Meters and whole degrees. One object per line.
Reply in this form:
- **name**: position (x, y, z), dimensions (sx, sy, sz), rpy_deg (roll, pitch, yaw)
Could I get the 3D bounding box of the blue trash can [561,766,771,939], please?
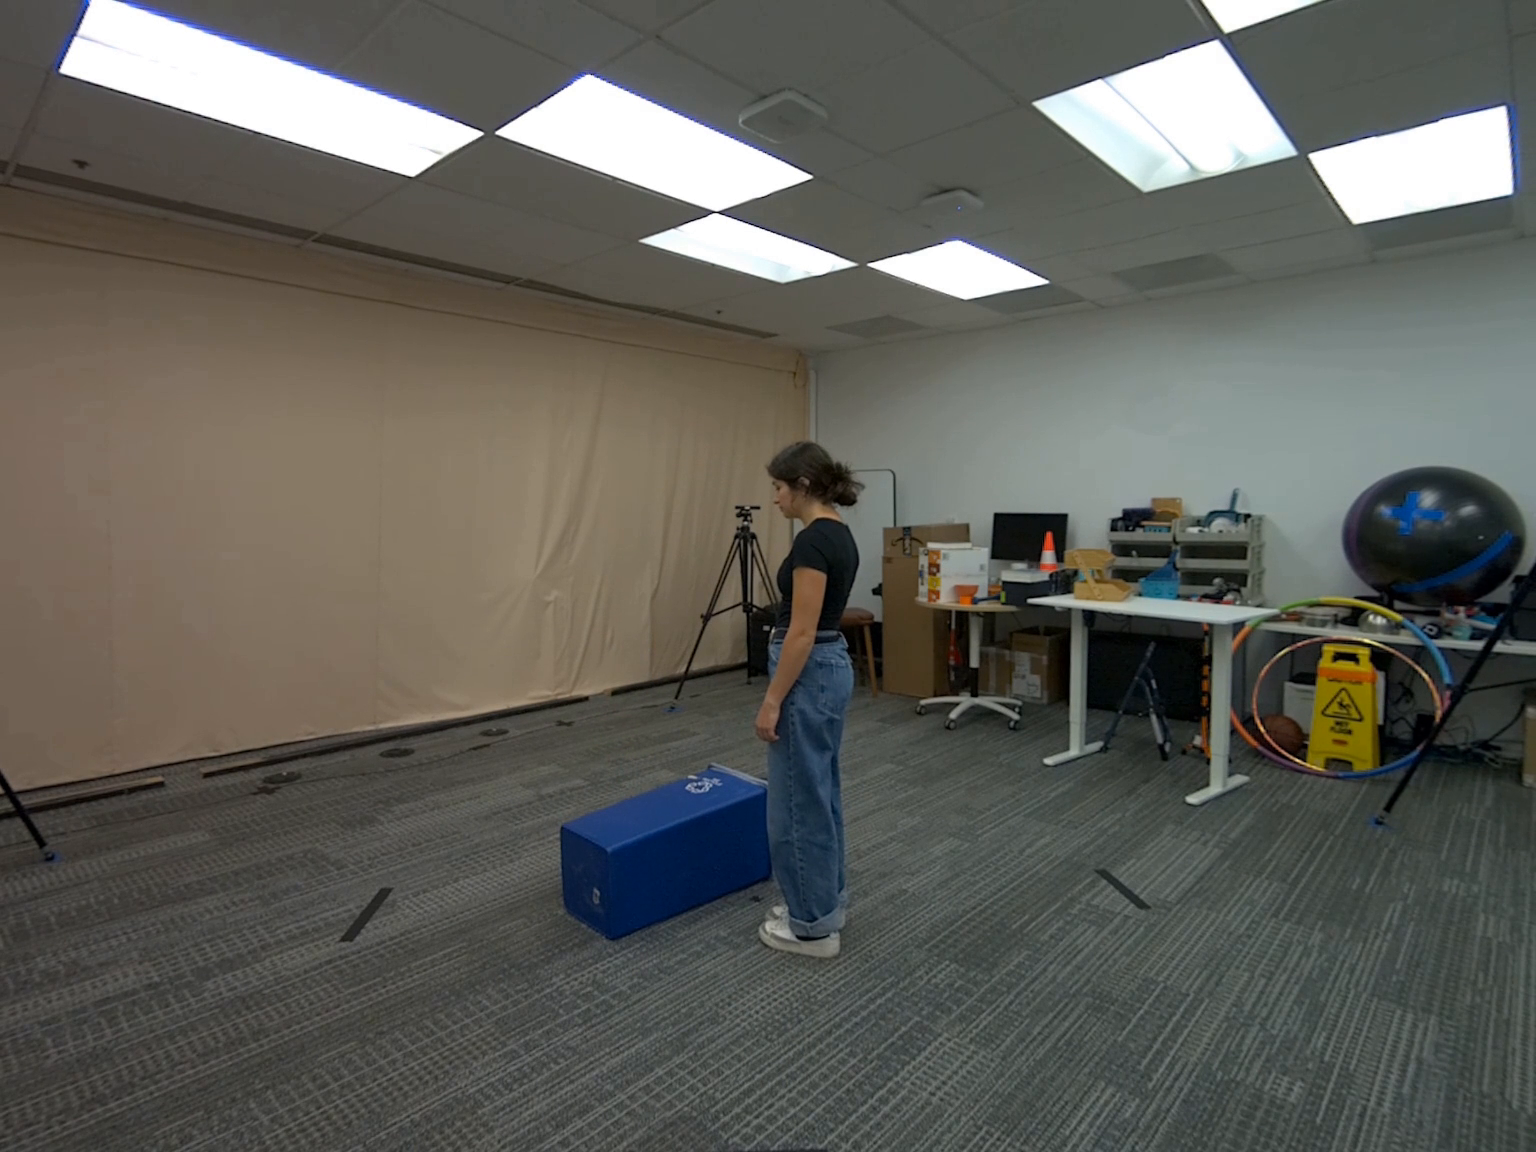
- **blue trash can**: position (-0.356, 0.980, 3.019), dimensions (0.693, 0.372, 0.391), rpy_deg (-8, 9, -41)
